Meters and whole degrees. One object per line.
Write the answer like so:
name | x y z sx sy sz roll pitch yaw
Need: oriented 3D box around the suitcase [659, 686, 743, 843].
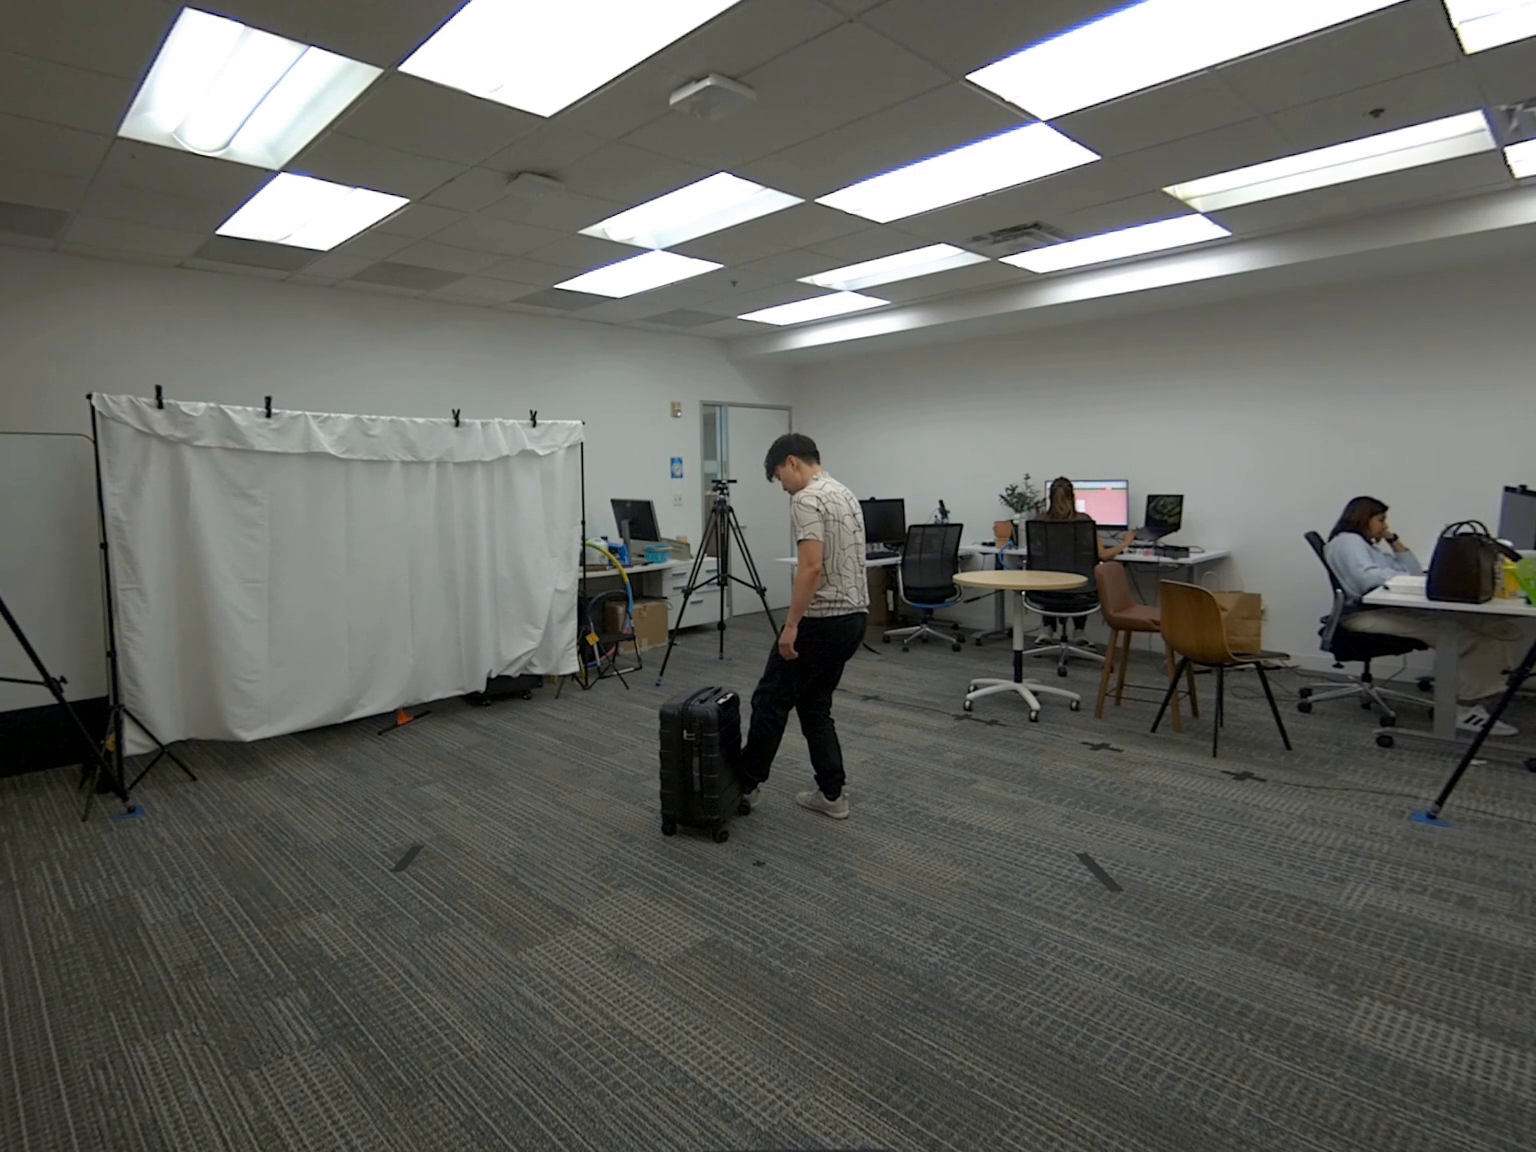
suitcase | -0.266 0.737 3.453 0.253 0.547 0.370 -1 5 18
